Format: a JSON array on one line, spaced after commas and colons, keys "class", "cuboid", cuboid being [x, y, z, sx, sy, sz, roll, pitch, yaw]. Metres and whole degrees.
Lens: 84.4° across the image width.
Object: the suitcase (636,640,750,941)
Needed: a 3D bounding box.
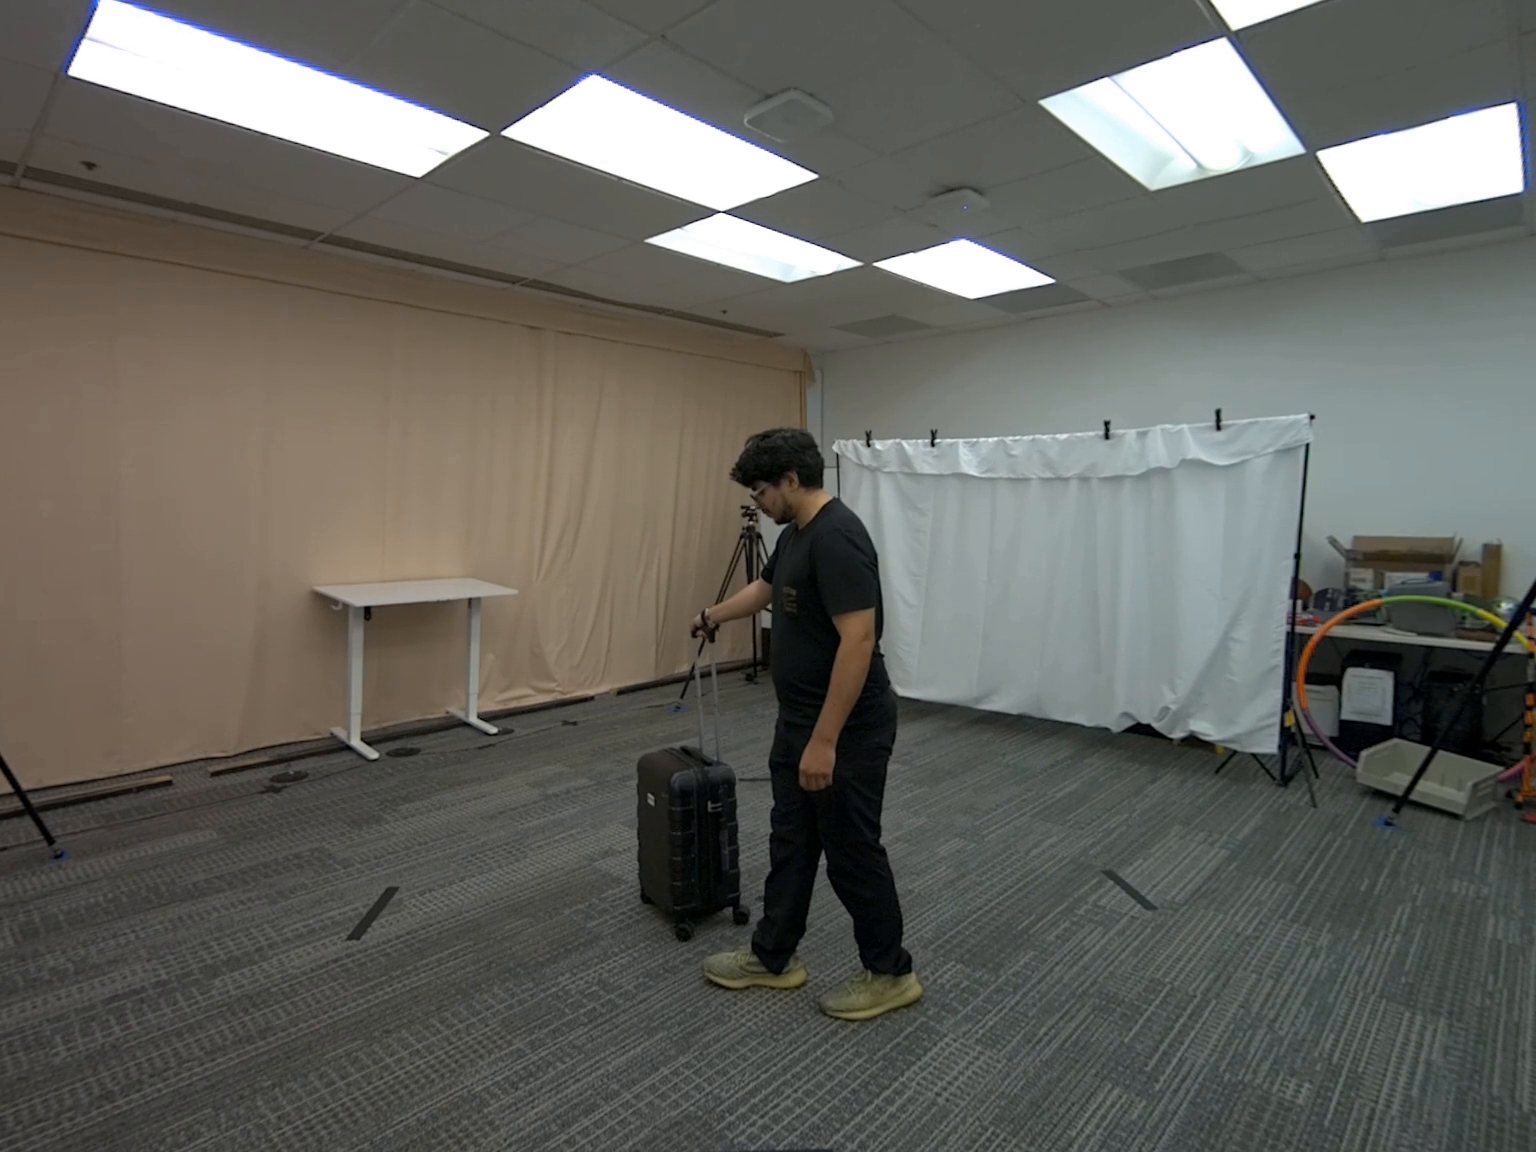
[{"class": "suitcase", "cuboid": [-0.289, 0.680, 2.867, 0.251, 0.977, 0.394, -5, 3, -28]}]
